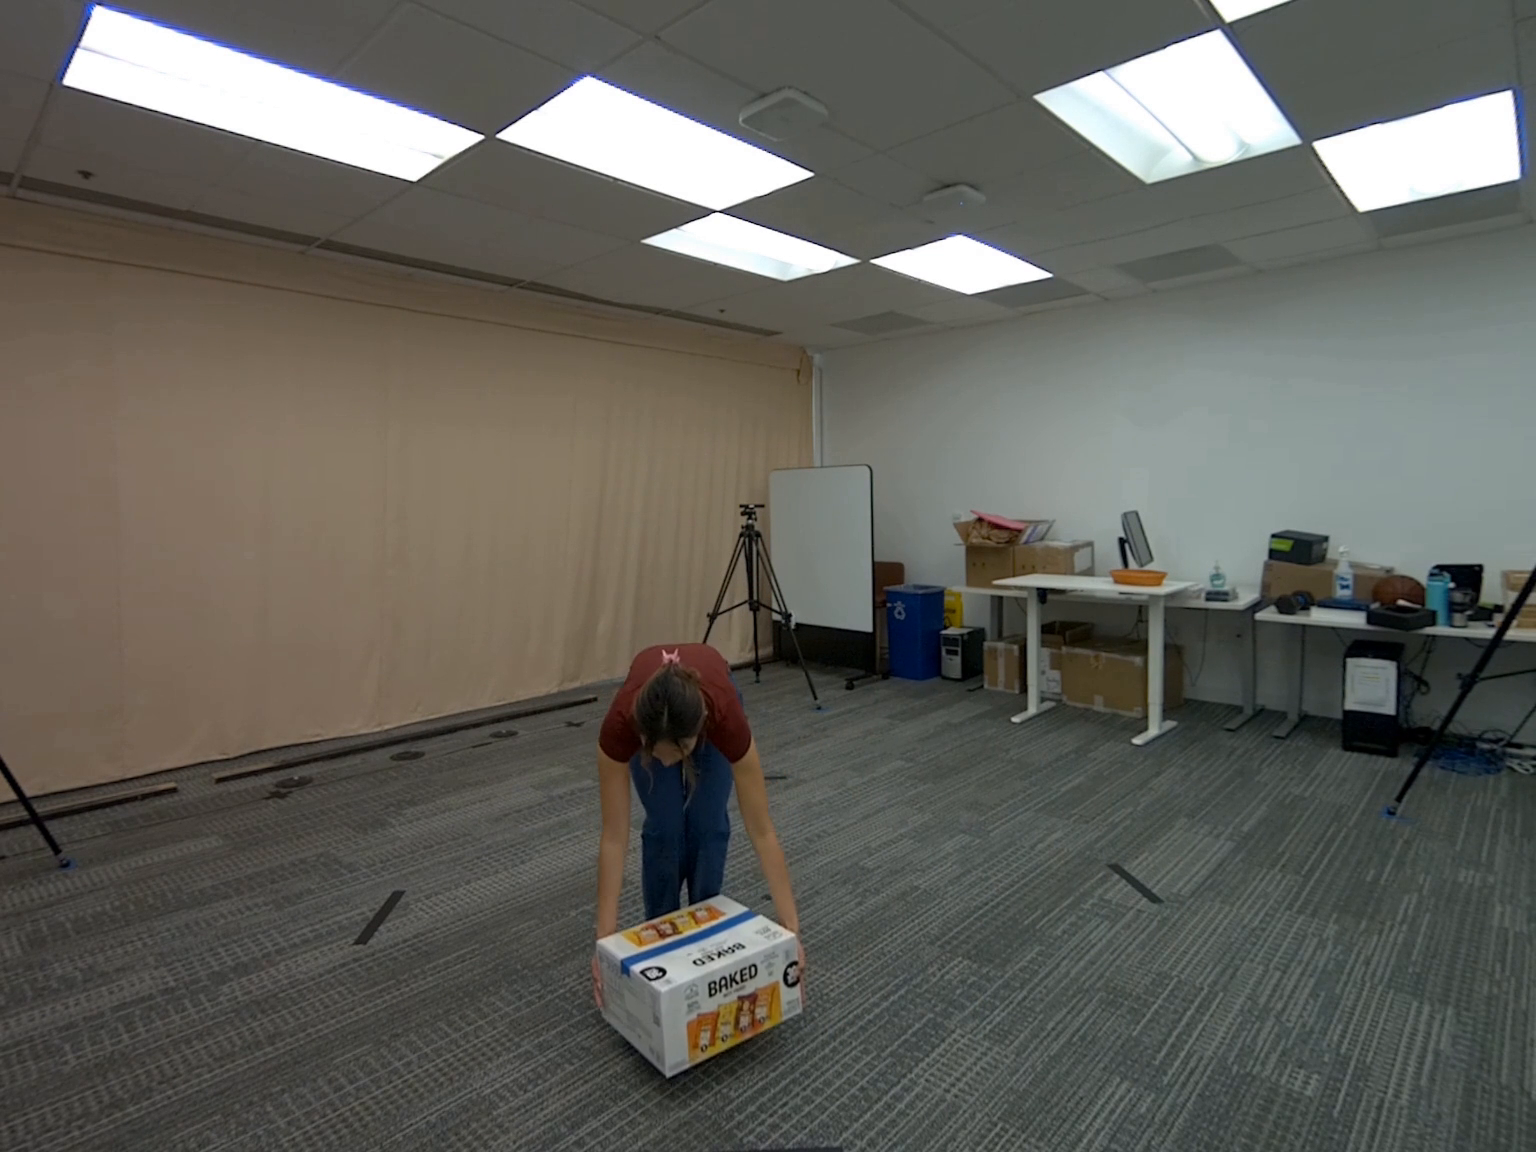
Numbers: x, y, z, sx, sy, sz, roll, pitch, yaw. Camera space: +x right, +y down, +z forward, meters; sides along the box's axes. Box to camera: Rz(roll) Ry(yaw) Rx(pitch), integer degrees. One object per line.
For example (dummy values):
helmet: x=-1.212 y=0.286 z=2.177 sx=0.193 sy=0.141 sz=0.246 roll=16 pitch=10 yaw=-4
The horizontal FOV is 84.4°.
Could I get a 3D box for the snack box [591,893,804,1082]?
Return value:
snack box: x=-0.183 y=1.018 z=2.155 sx=0.393 sy=0.205 sz=0.350 roll=-6 pitch=2 yaw=-36
